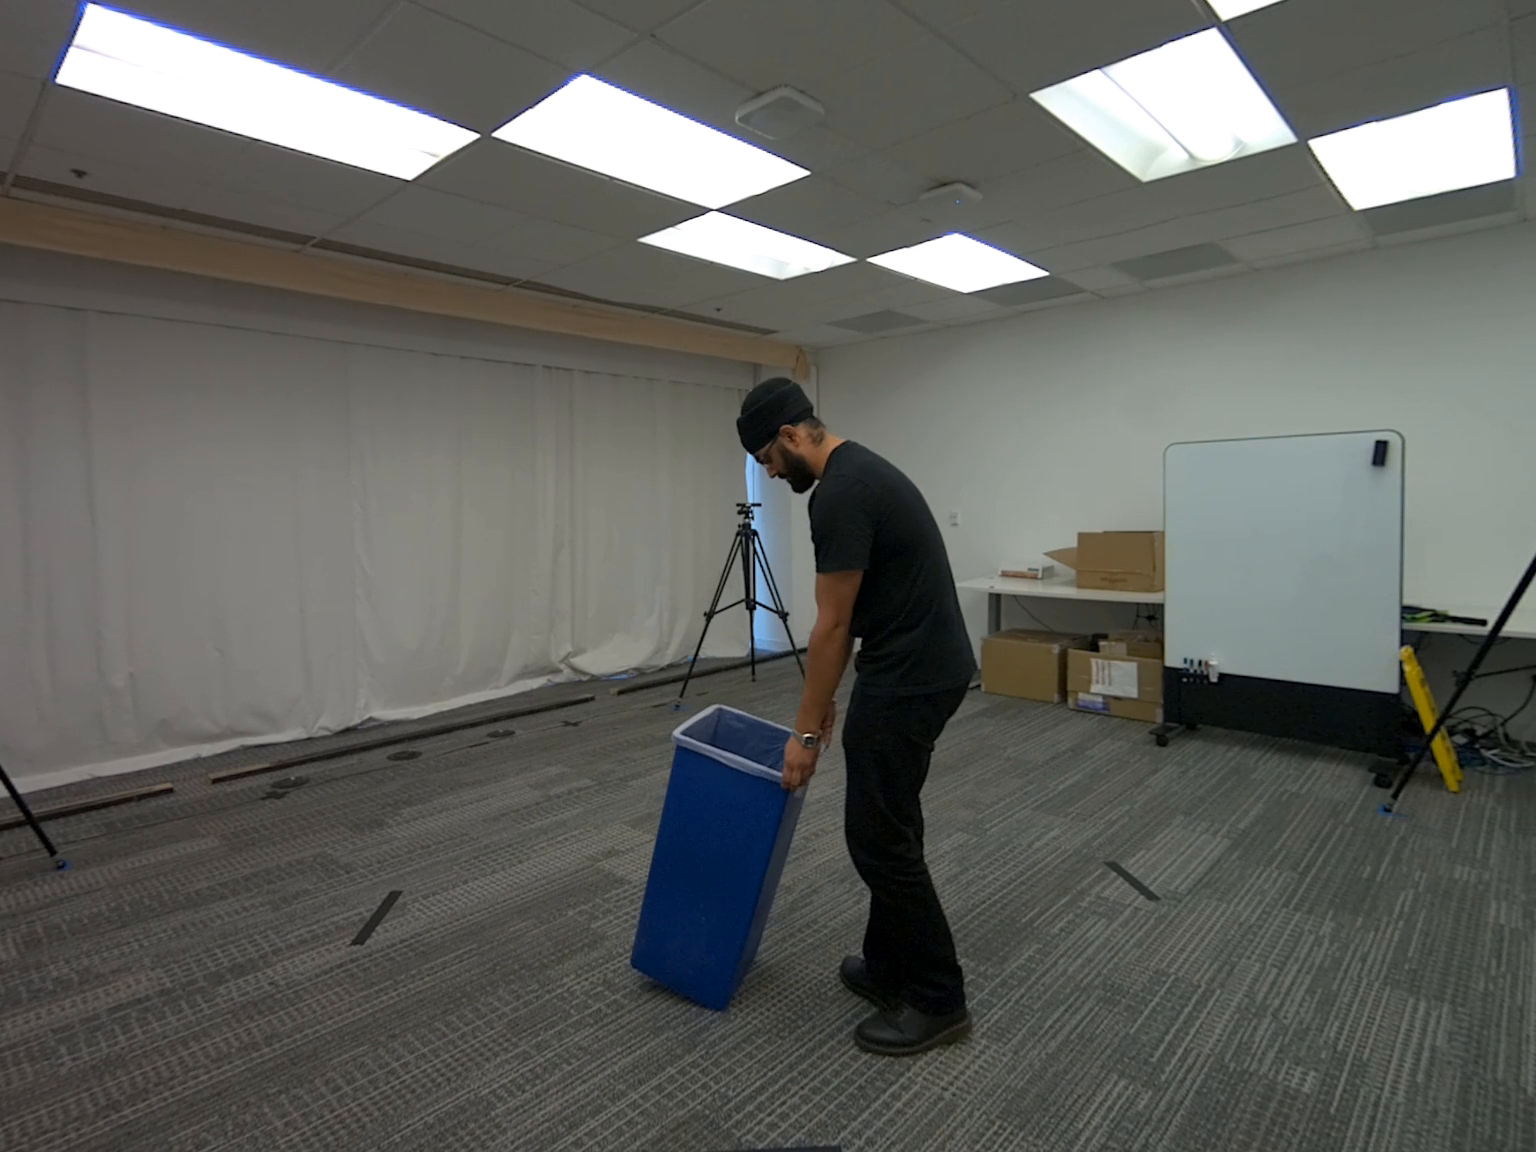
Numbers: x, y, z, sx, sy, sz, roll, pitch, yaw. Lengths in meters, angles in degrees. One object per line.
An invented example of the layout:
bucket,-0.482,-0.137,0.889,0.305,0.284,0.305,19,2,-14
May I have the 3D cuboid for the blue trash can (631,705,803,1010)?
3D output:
blue trash can,-0.119,0.806,2.441,0.381,0.711,0.372,16,9,15
